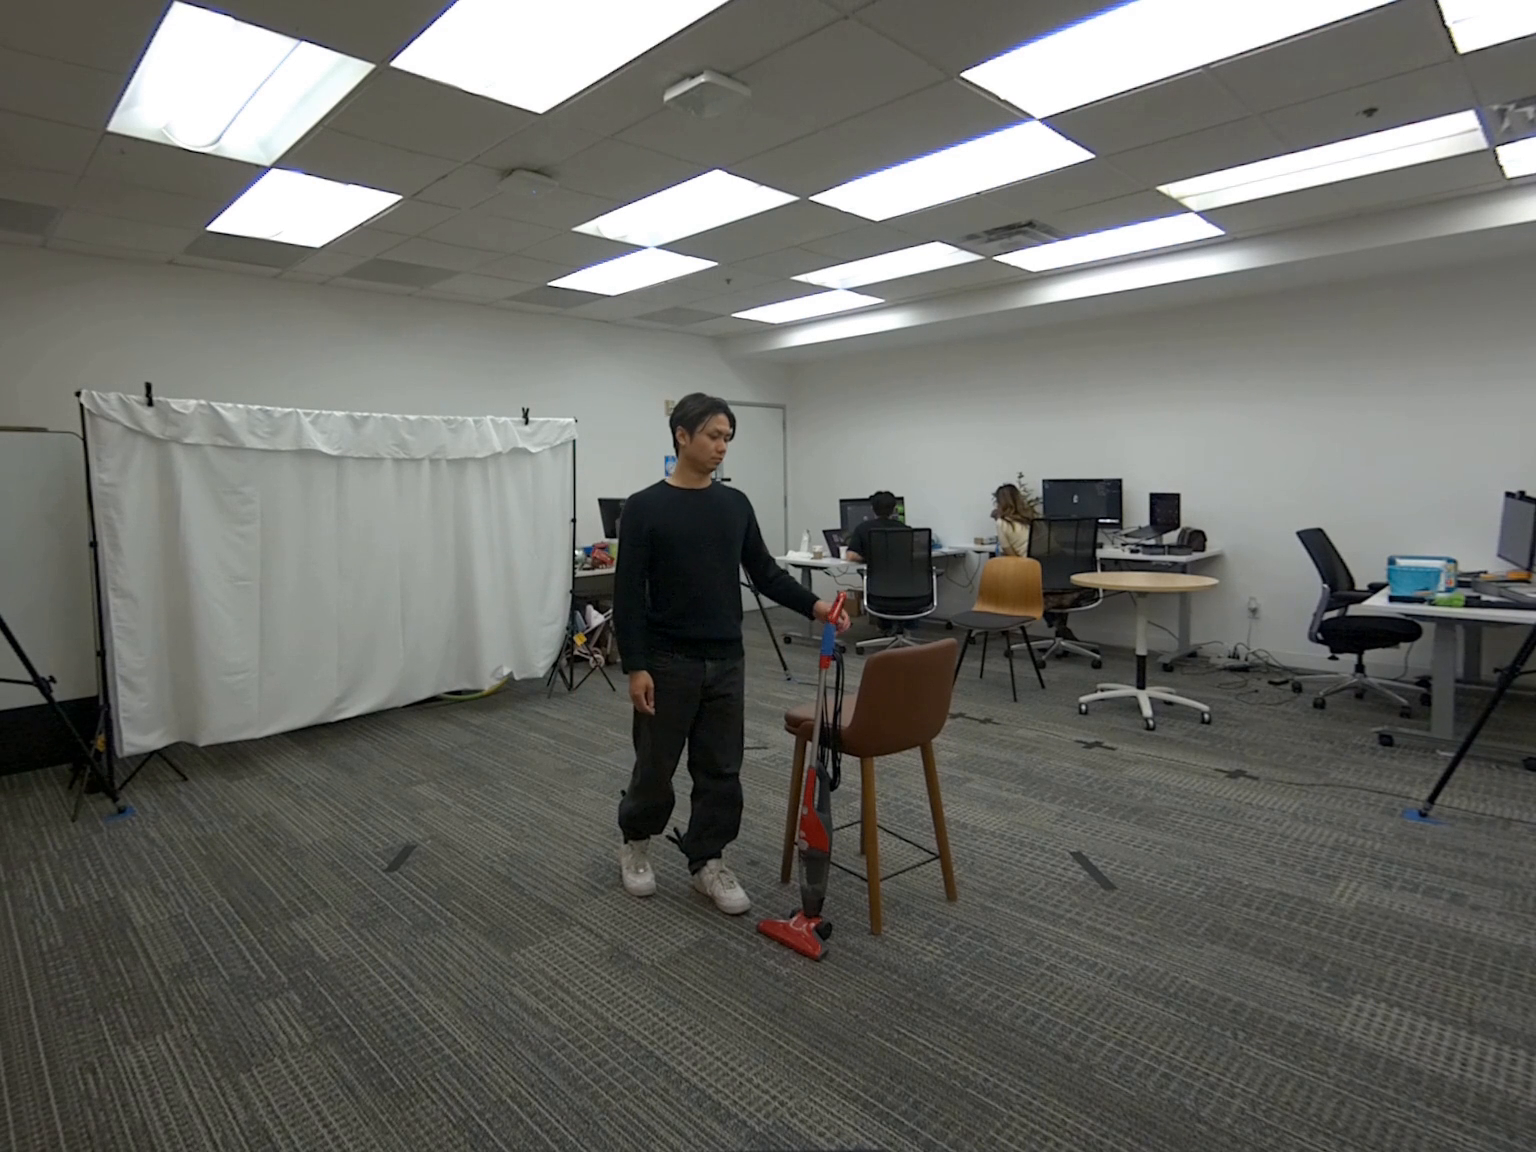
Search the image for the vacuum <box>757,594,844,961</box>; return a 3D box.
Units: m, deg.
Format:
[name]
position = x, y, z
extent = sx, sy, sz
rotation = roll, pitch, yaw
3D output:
[vacuum]
position = 0.189, 0.591, 2.633
extent = 0.139, 1.053, 0.260
rotation = 13, -6, -43
